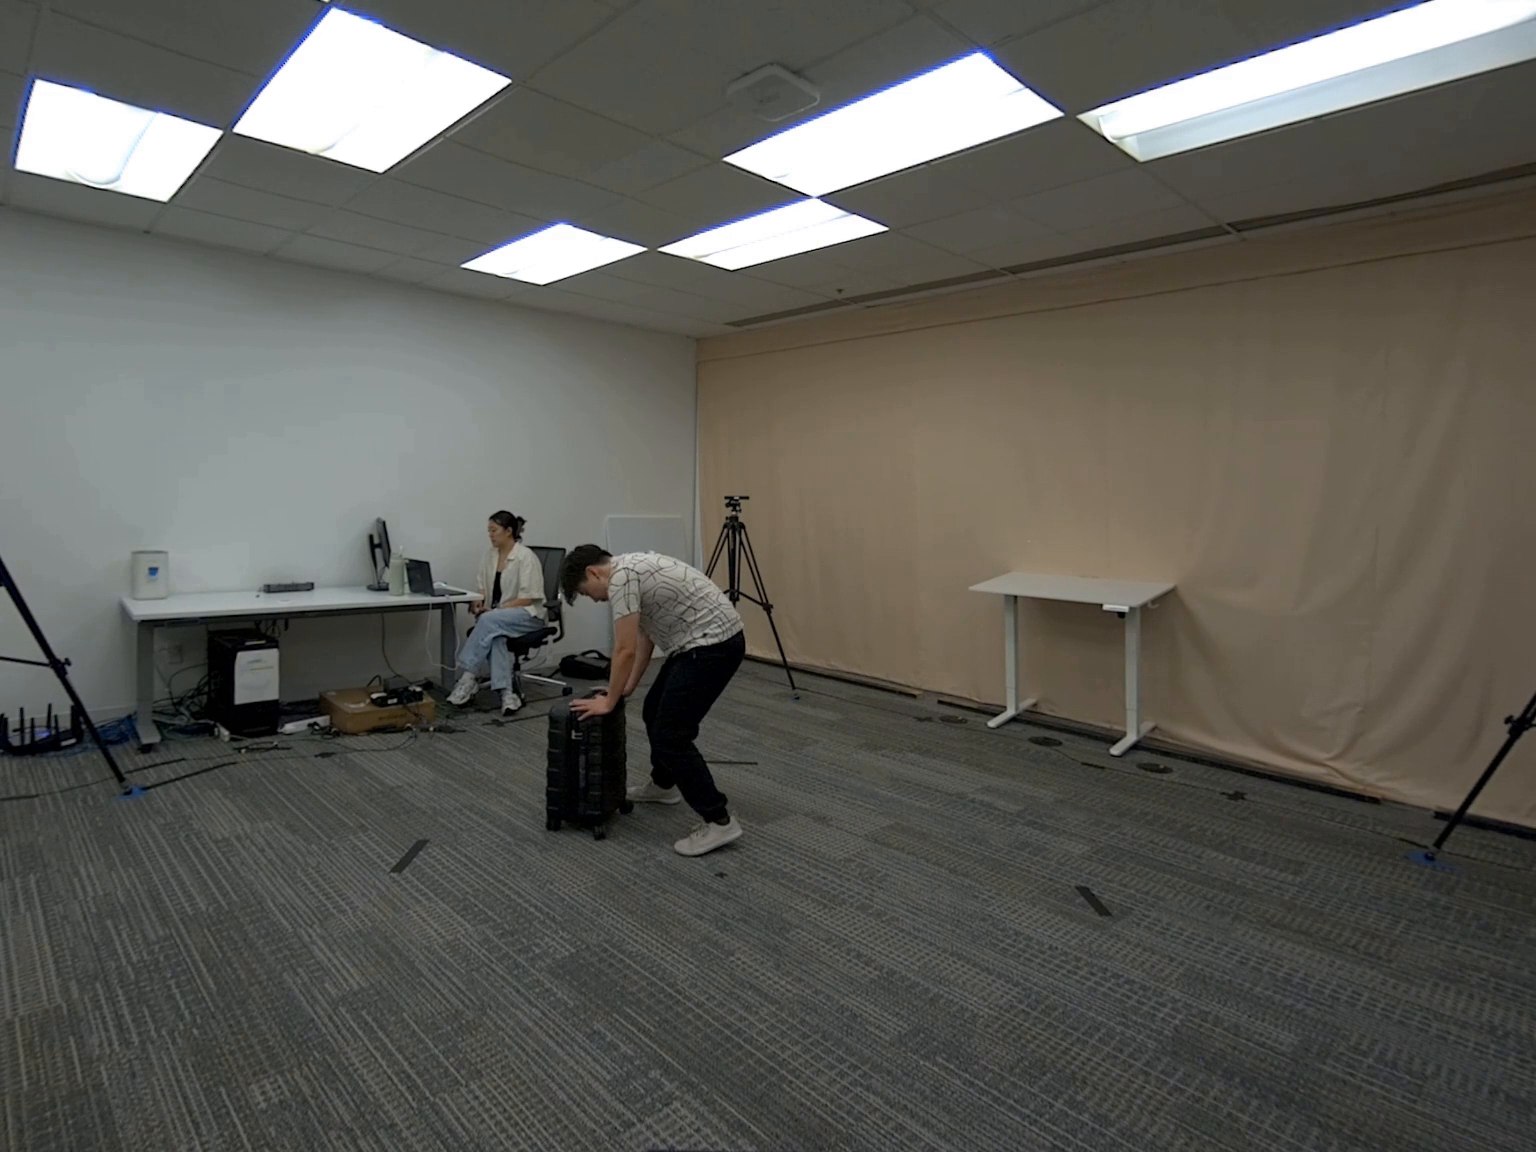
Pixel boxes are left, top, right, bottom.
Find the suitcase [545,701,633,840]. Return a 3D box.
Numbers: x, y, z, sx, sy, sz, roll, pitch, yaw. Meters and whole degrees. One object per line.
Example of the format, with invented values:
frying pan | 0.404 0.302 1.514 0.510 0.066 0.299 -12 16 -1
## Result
suitcase | -0.770 0.773 3.577 0.251 0.548 0.372 1 3 12
